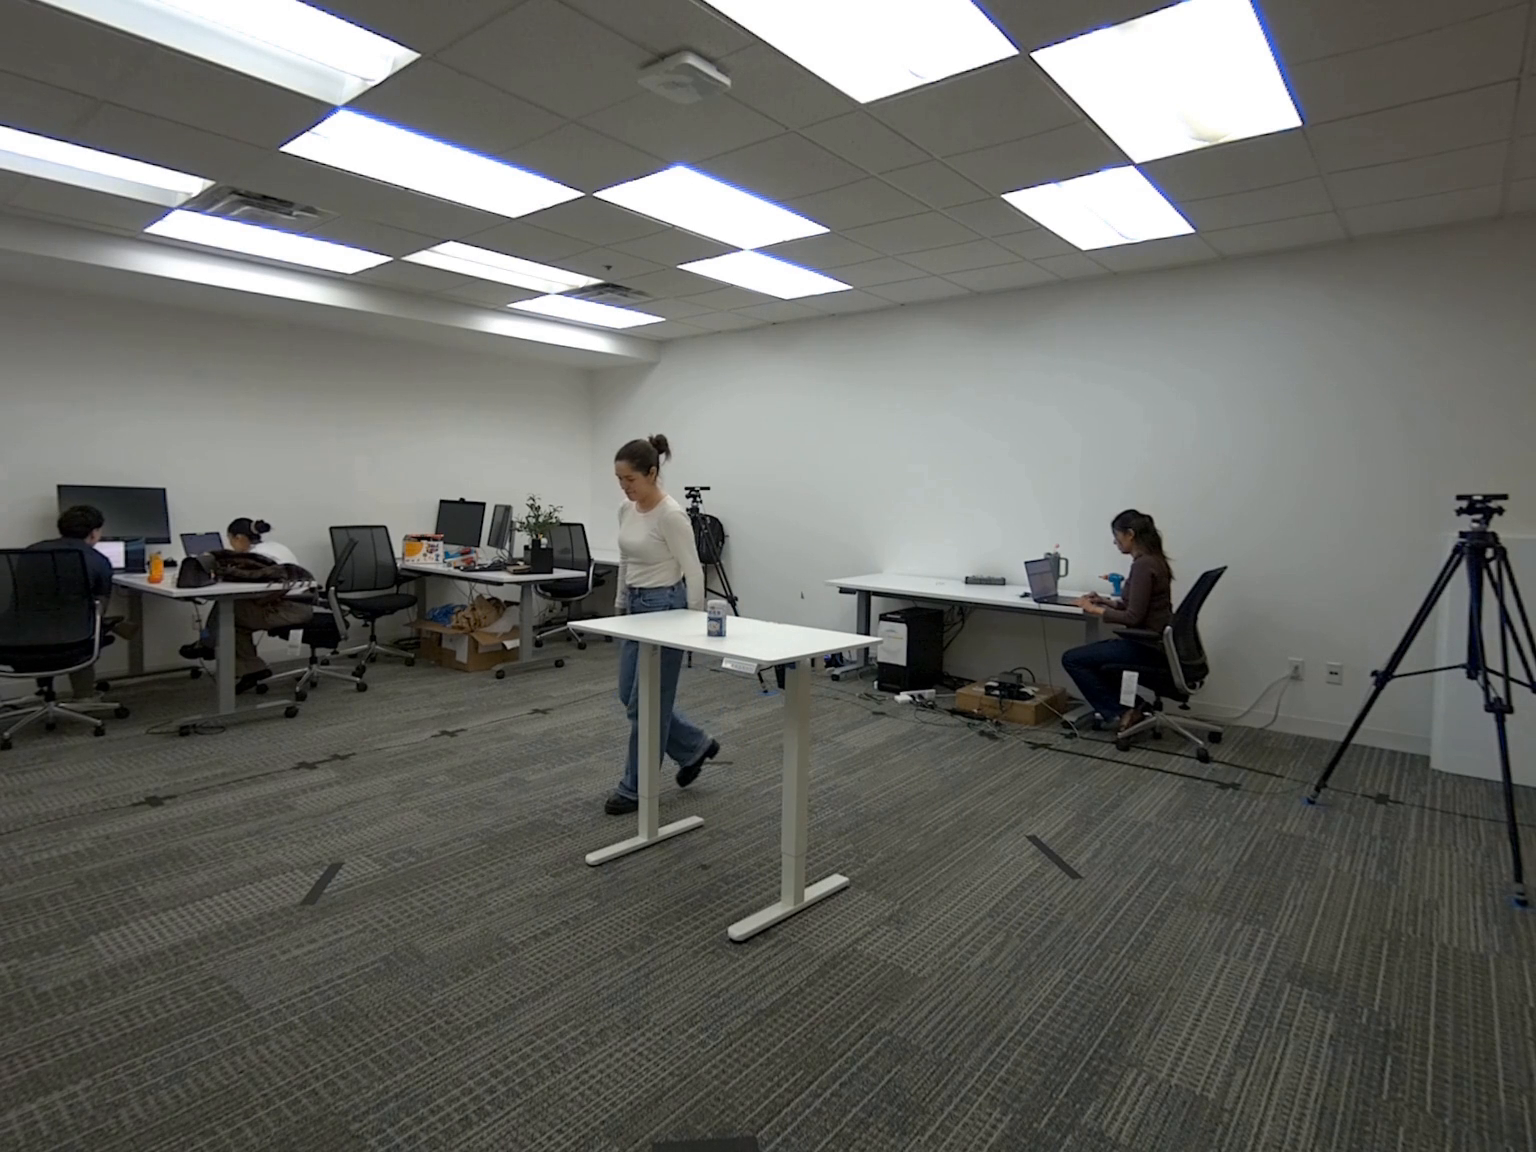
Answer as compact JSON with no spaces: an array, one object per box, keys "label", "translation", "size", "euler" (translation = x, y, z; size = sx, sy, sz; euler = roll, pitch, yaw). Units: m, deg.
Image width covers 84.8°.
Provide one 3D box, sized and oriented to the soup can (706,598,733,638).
[{"label":"soup can","translation":[-0.187,0.146,2.905],"size":[0.067,0.121,0.067],"euler":[-2,0,-2]}]
